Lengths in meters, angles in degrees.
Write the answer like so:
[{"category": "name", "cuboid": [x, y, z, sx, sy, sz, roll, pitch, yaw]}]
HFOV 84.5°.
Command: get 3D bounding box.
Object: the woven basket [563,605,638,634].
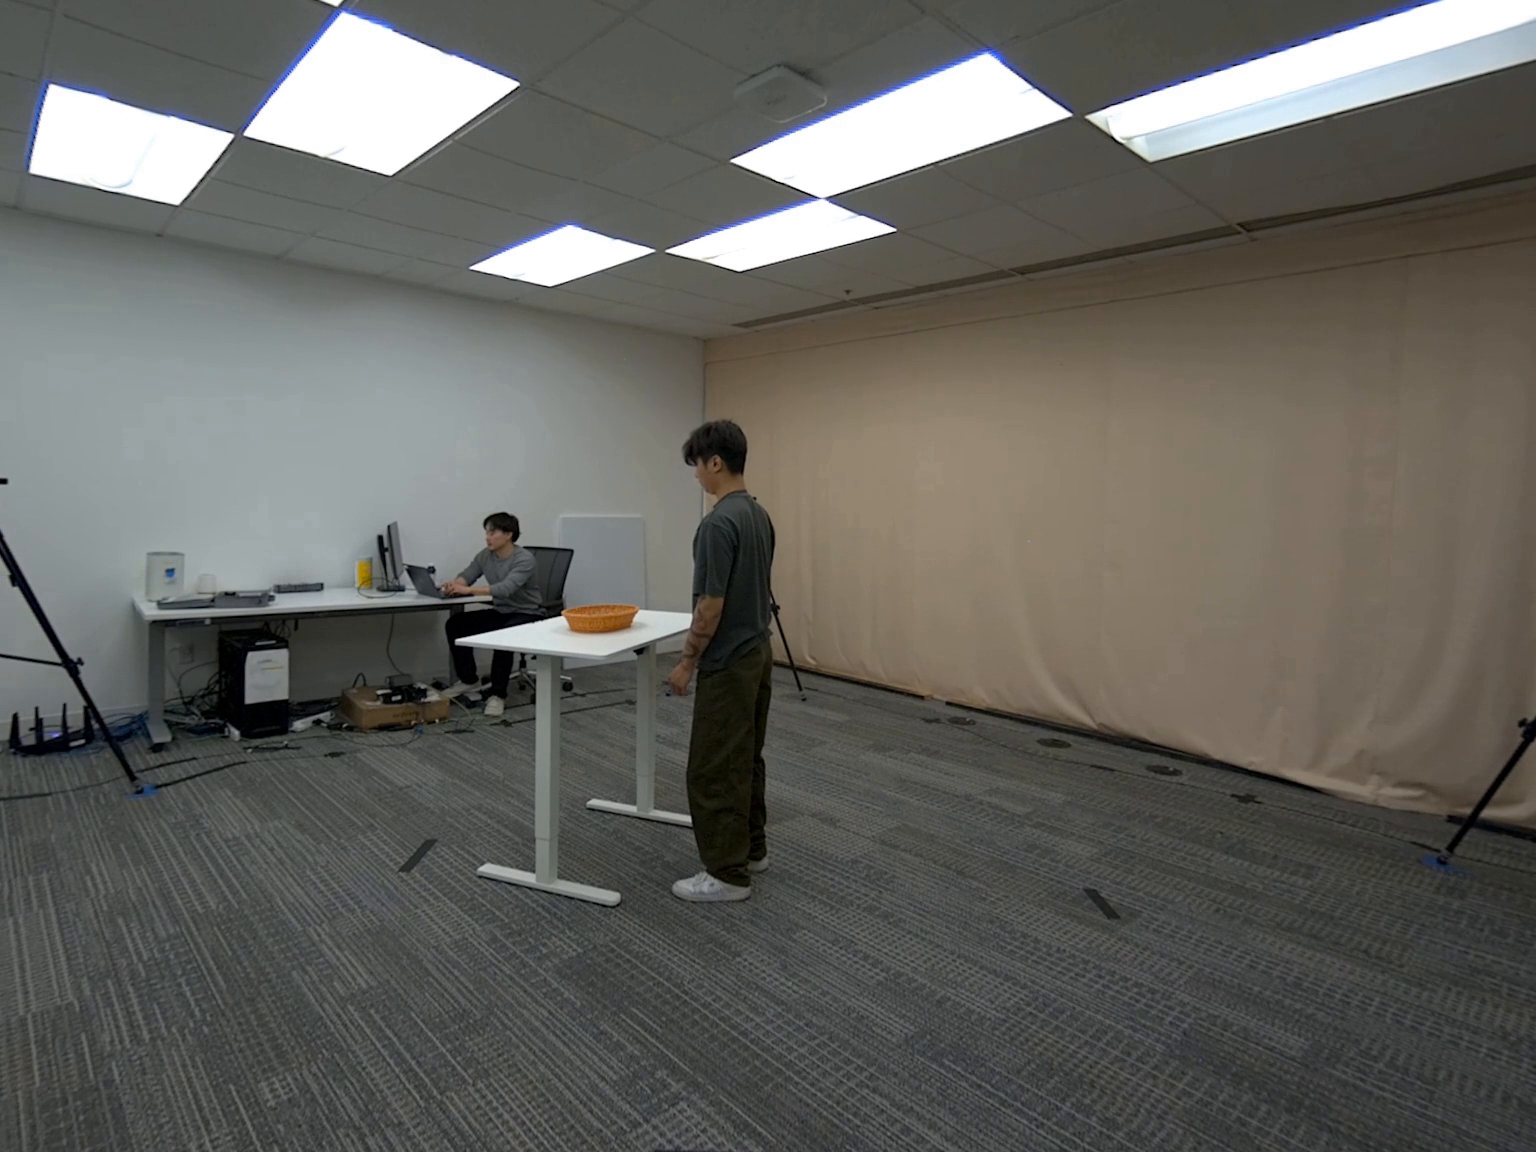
[{"category": "woven basket", "cuboid": [-0.654, 0.172, 3.247, 0.257, 0.073, 0.345, 4, 6, 24]}]
